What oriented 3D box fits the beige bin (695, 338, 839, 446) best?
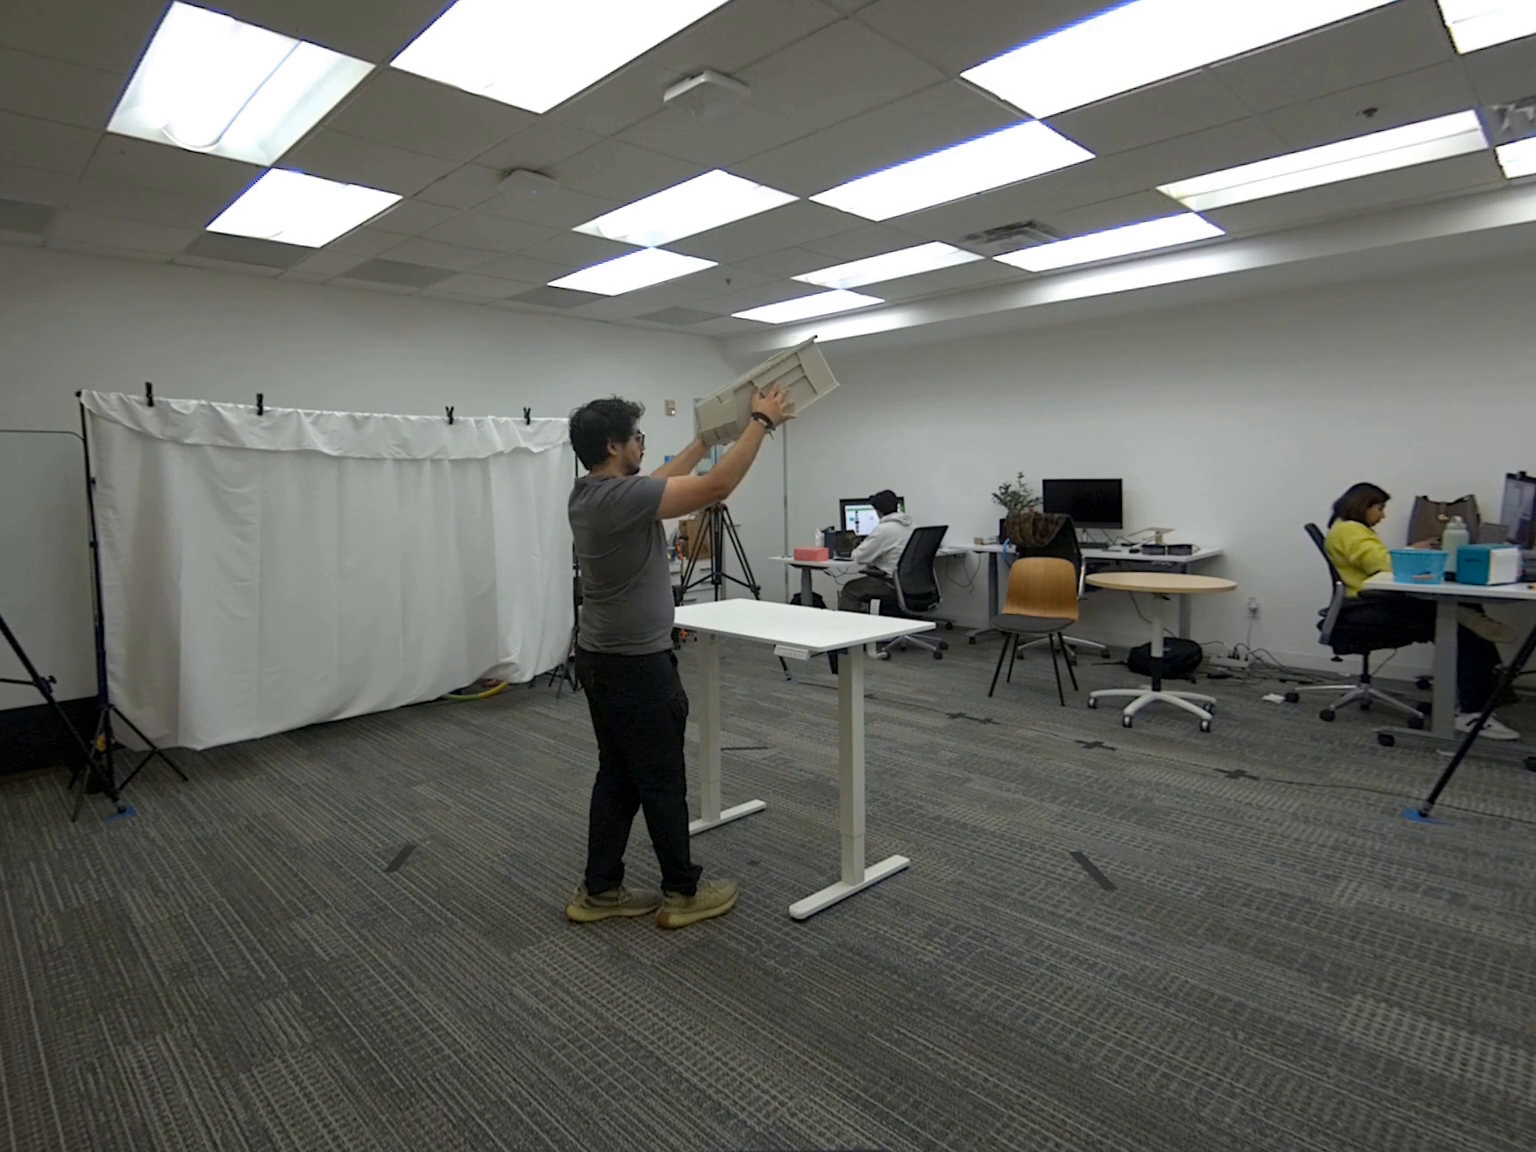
[{"bbox_3d":[-0.017,-0.595,2.850,0.375,0.186,0.430,-34,13,-15],"label":"beige bin"}]
